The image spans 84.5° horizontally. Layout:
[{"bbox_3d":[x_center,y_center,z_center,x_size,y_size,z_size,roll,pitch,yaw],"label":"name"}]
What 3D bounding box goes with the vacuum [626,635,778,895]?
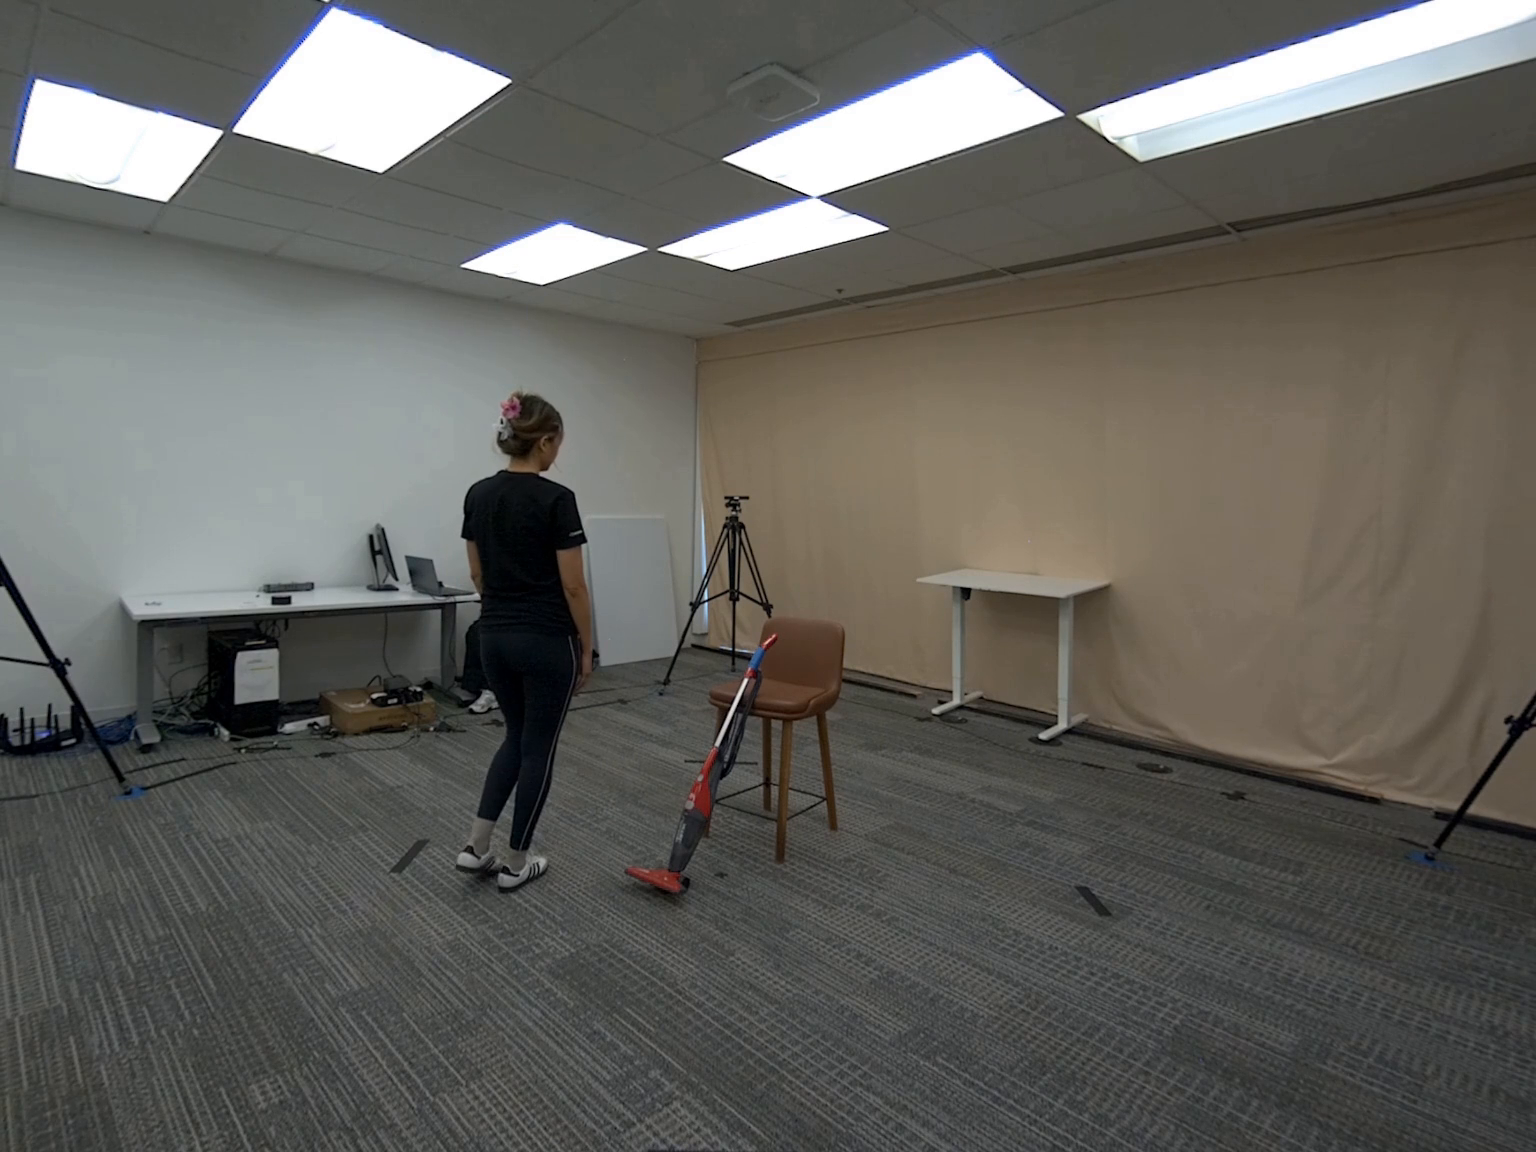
[{"bbox_3d":[-0.183,0.675,3.190,0.258,1.058,0.139,4,-34,33],"label":"vacuum"}]
